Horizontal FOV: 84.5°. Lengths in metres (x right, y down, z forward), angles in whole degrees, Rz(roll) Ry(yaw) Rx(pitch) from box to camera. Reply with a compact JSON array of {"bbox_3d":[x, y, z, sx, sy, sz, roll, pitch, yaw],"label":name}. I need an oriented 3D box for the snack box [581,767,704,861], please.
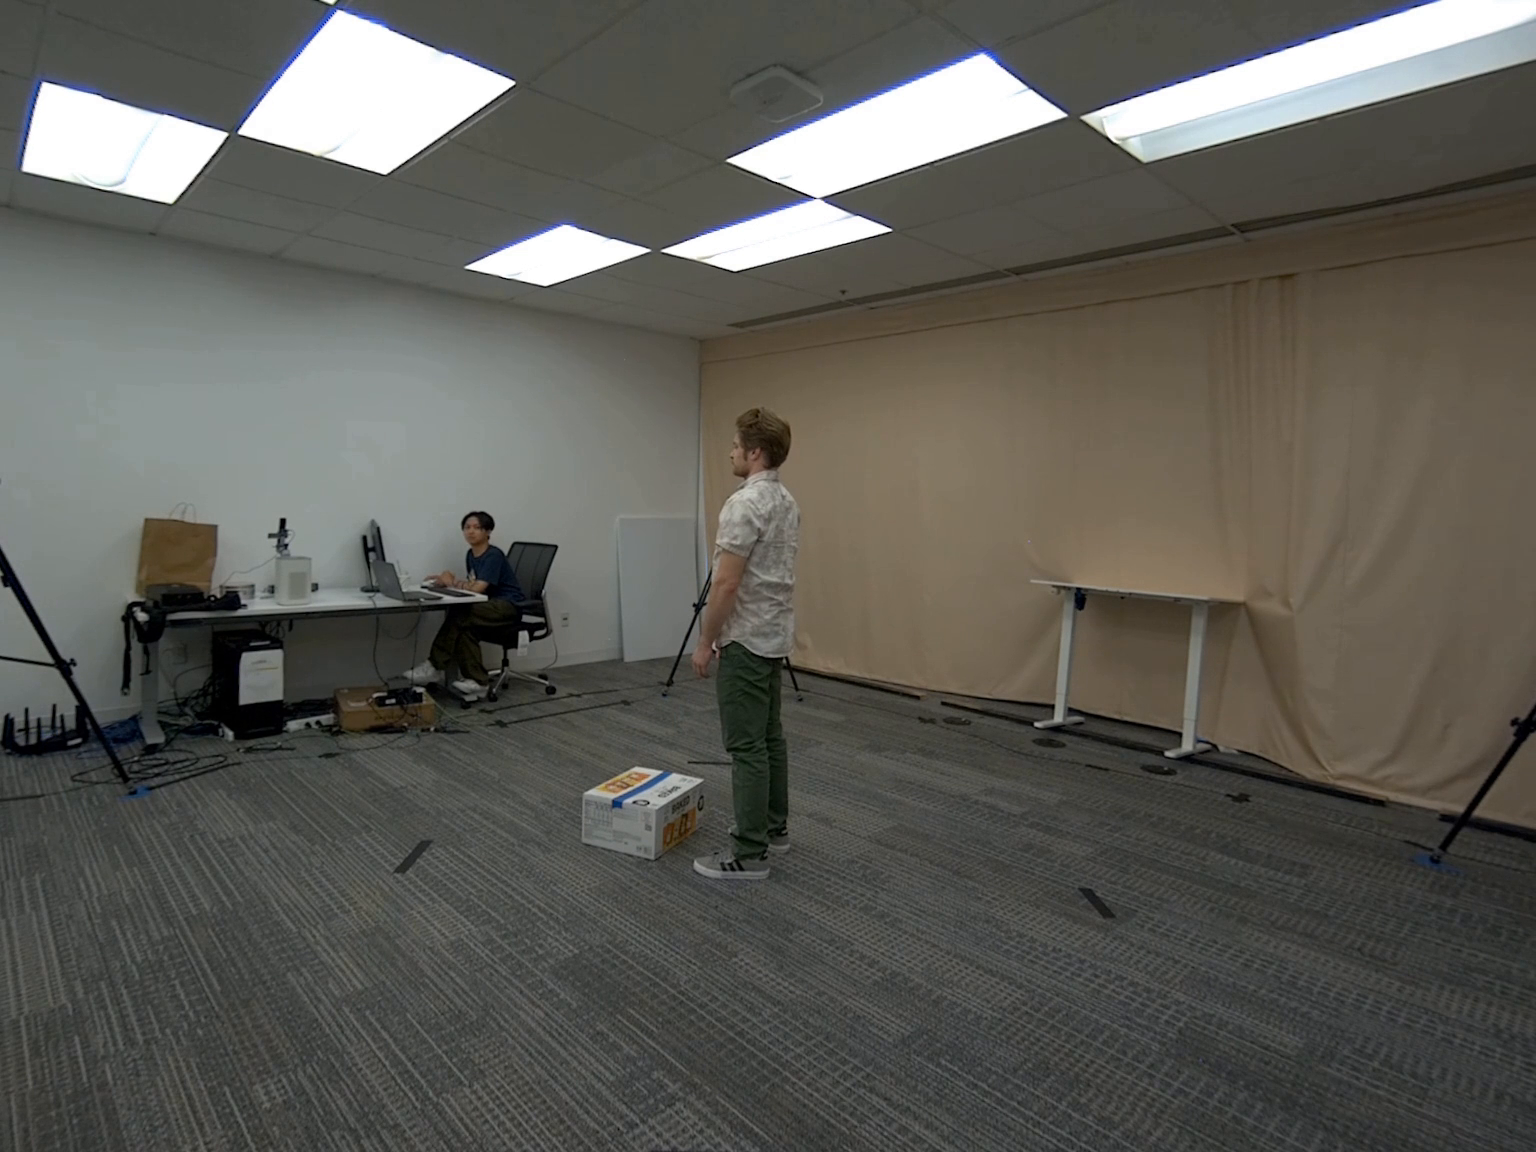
[{"bbox_3d":[-0.519,0.967,3.463,0.347,0.205,0.398,3,5,24],"label":"snack box"}]
